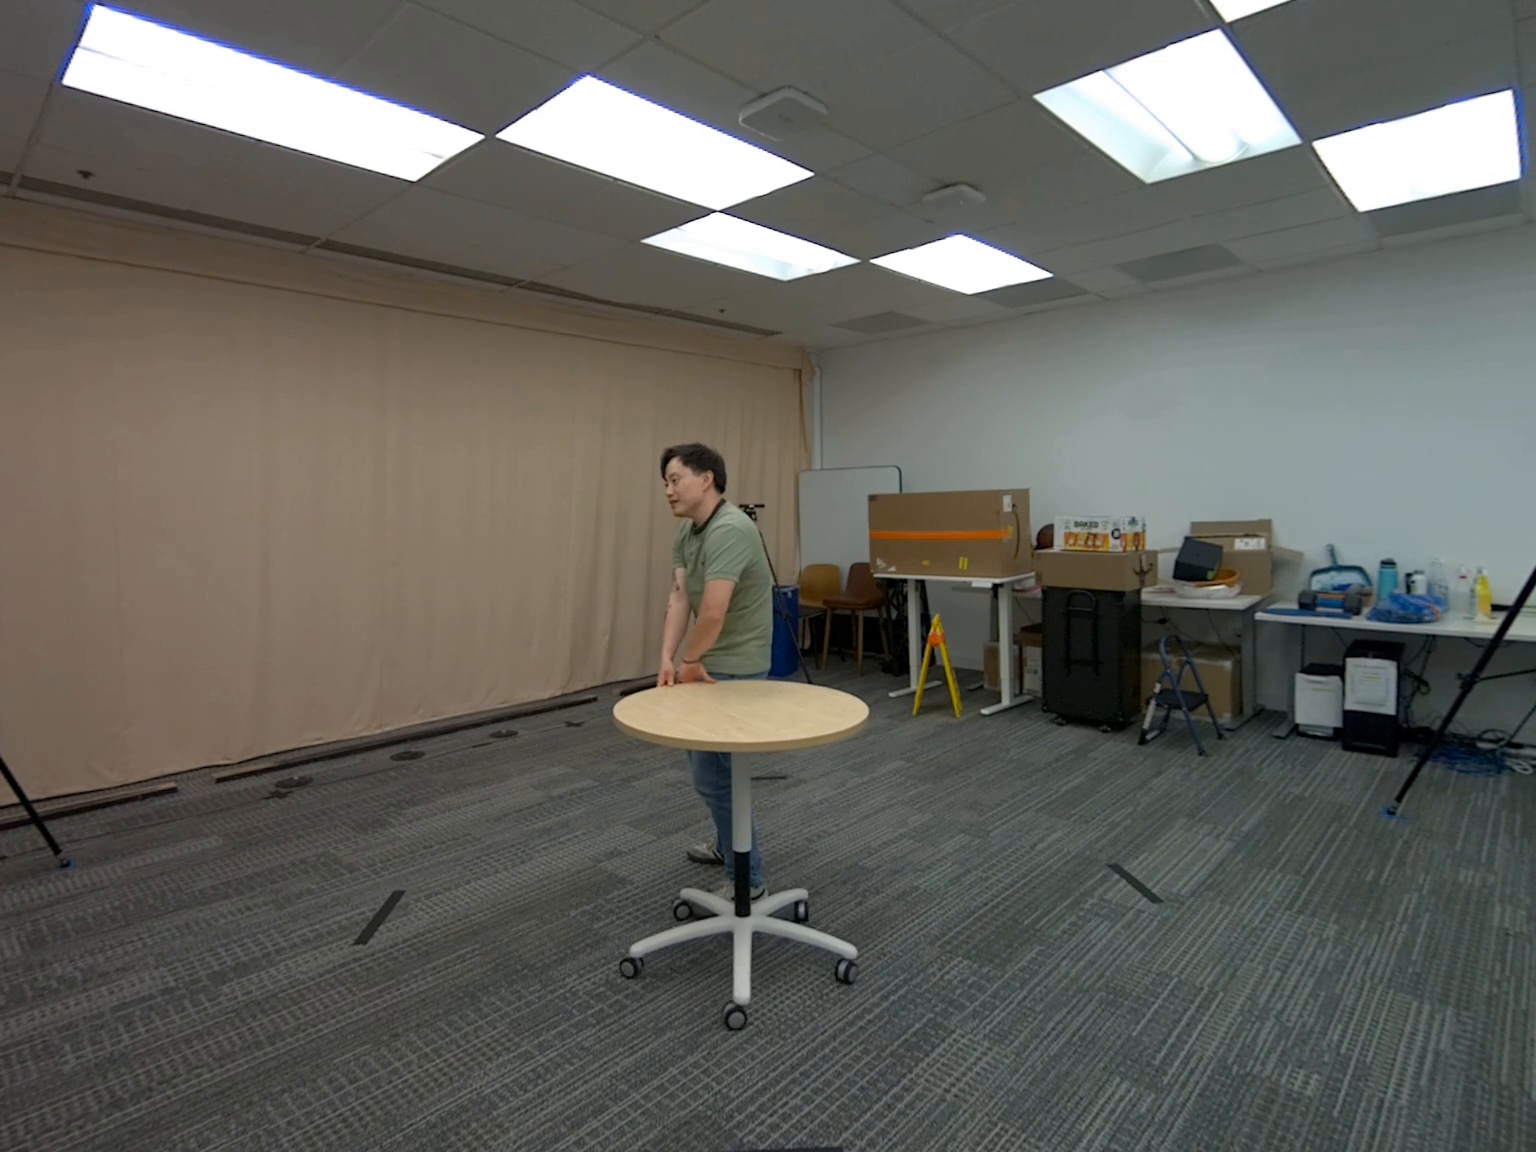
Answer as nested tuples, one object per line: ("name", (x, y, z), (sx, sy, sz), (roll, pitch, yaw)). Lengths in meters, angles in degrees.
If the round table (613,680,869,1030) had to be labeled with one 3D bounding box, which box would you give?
("round table", (-0.079, 0.787, 2.561), (0.763, 0.792, 0.767), (0, 4, -2))
